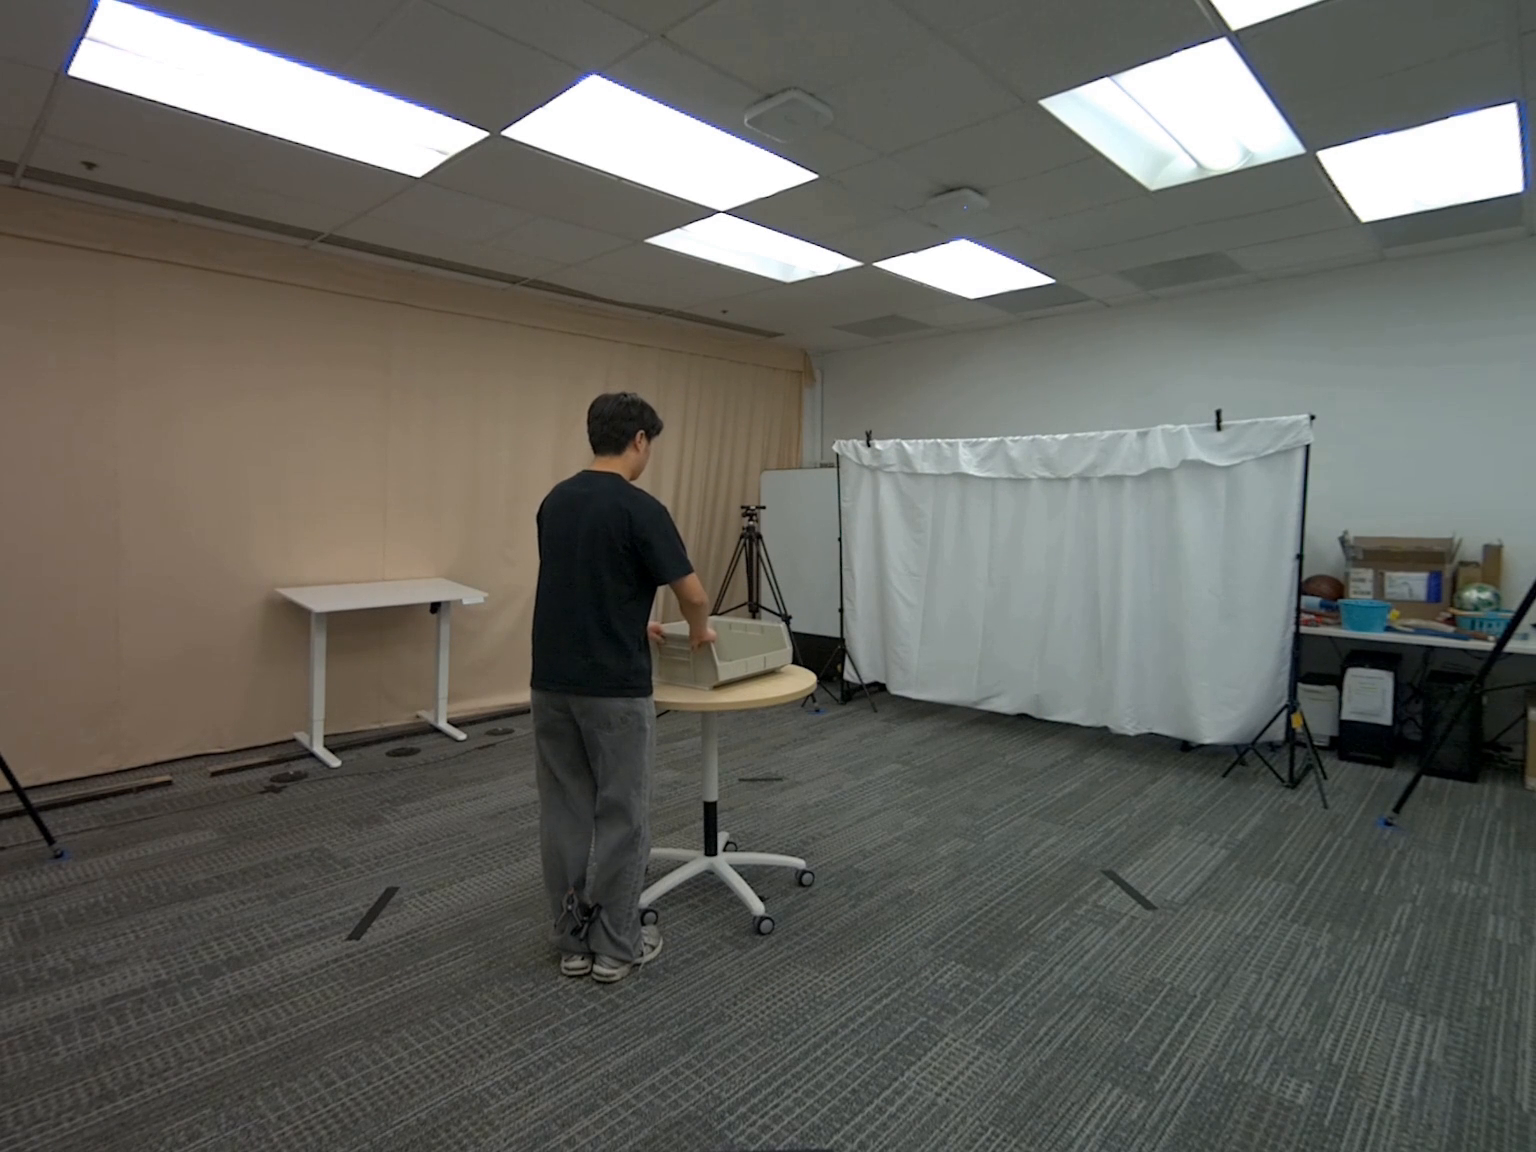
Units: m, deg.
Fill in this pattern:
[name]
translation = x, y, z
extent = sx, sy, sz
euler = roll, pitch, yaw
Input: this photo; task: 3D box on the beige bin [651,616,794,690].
[beige bin]
translation = -0.179, 0.271, 3.017
extent = 0.389, 0.188, 0.410
euler = 1, 5, 40
